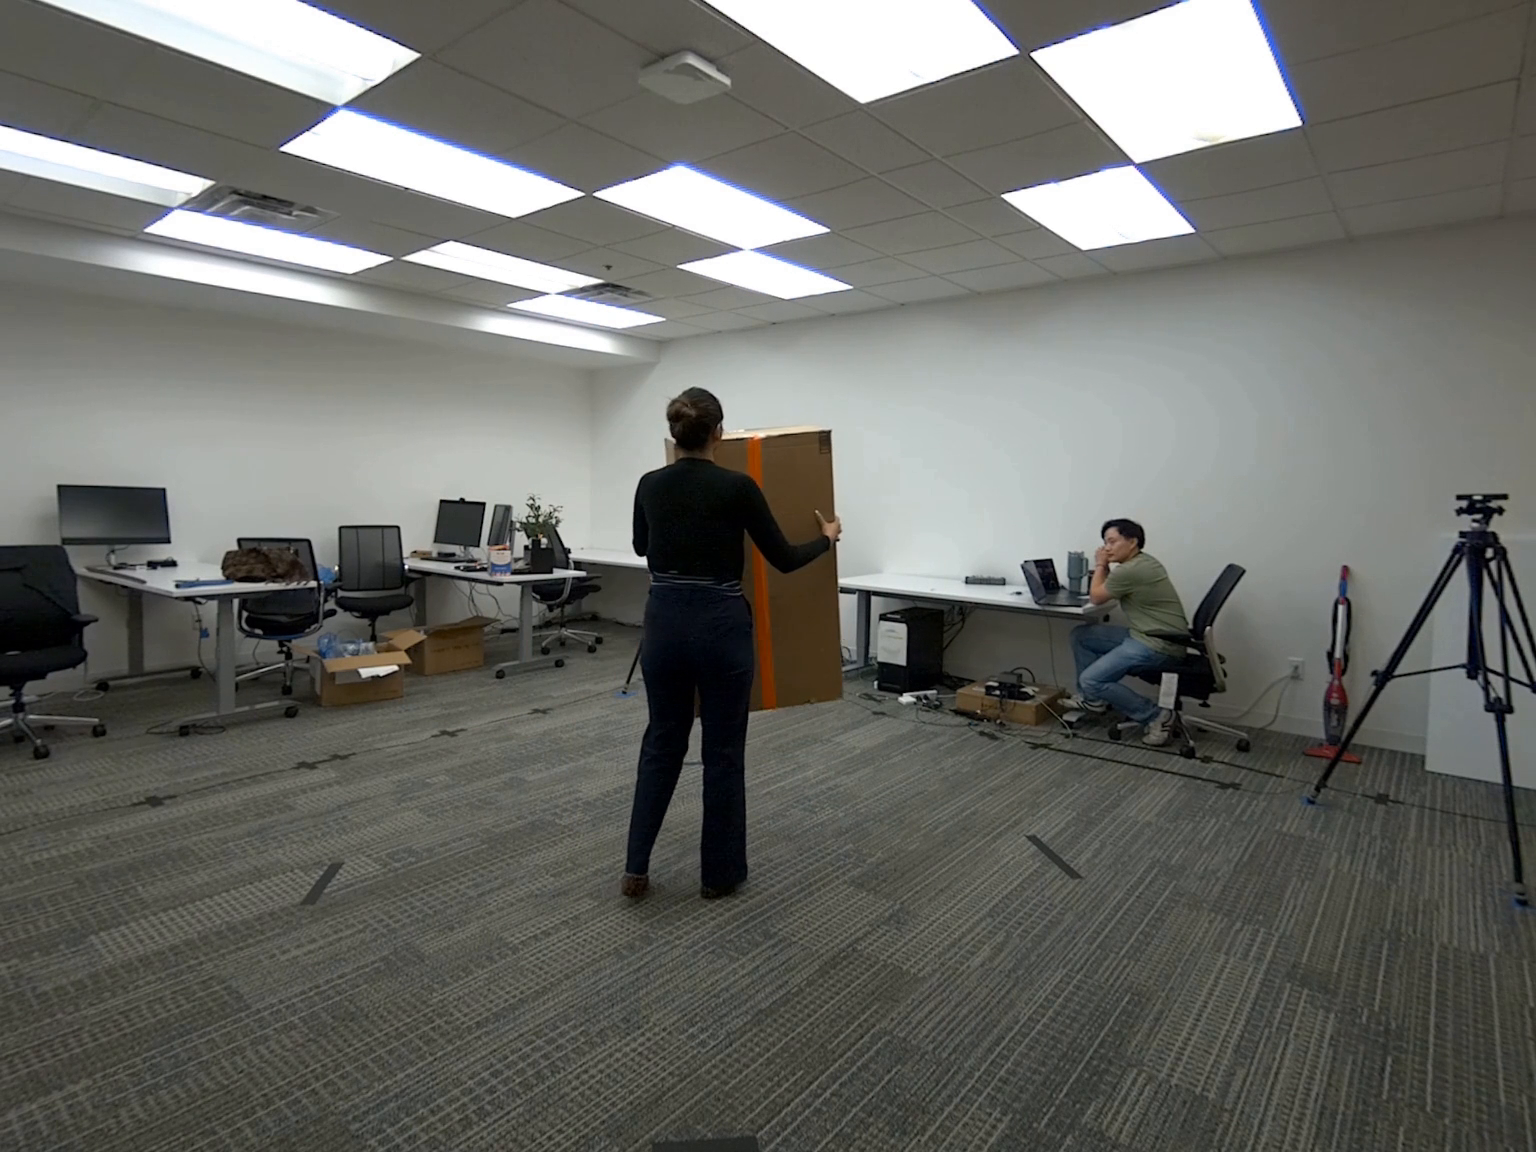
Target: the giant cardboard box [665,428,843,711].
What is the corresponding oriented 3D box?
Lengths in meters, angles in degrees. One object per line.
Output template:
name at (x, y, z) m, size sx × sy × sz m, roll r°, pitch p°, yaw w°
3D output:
giant cardboard box at (-0.073, -0.043, 3.306) m, size 0.572 × 1.016 × 0.434 m, roll -5°, pitch 10°, yaw -10°
